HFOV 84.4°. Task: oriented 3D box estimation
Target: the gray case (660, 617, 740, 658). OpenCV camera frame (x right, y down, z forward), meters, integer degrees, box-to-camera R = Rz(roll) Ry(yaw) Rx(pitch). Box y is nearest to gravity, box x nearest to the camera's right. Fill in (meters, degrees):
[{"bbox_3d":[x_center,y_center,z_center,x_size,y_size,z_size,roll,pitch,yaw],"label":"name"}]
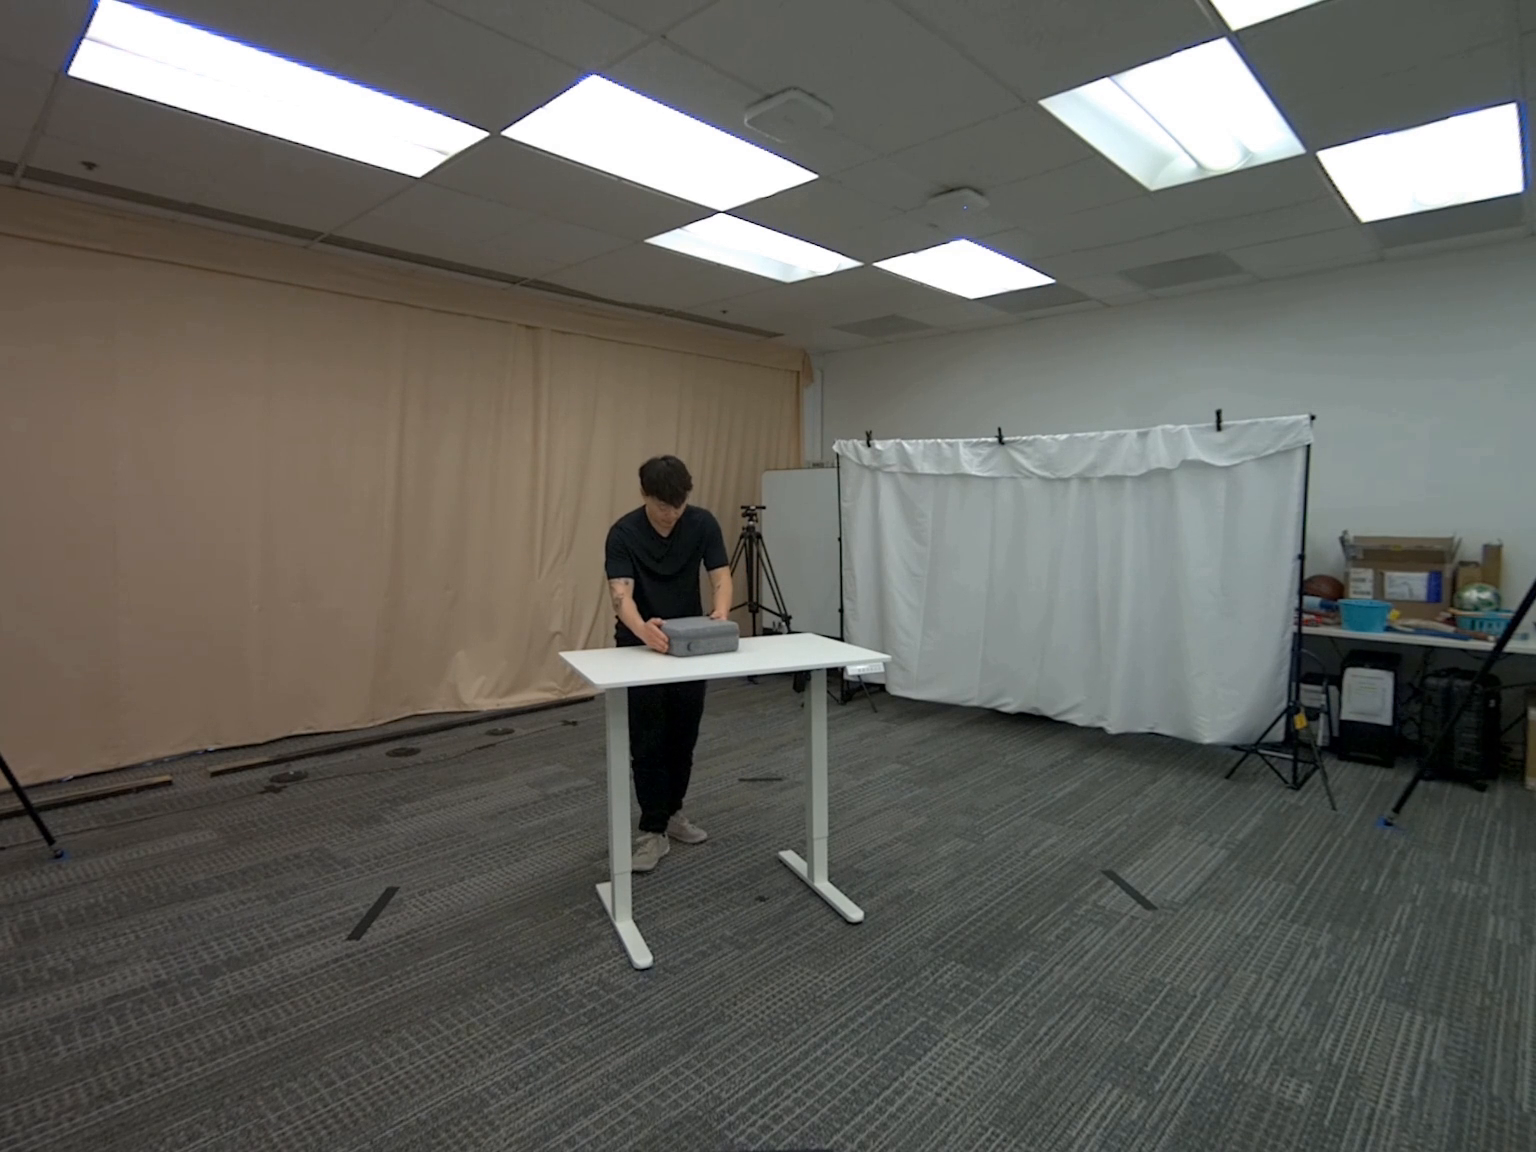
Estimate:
[{"bbox_3d":[-0.257,0.217,2.978,0.253,0.104,0.265,-3,6,-31],"label":"gray case"}]
